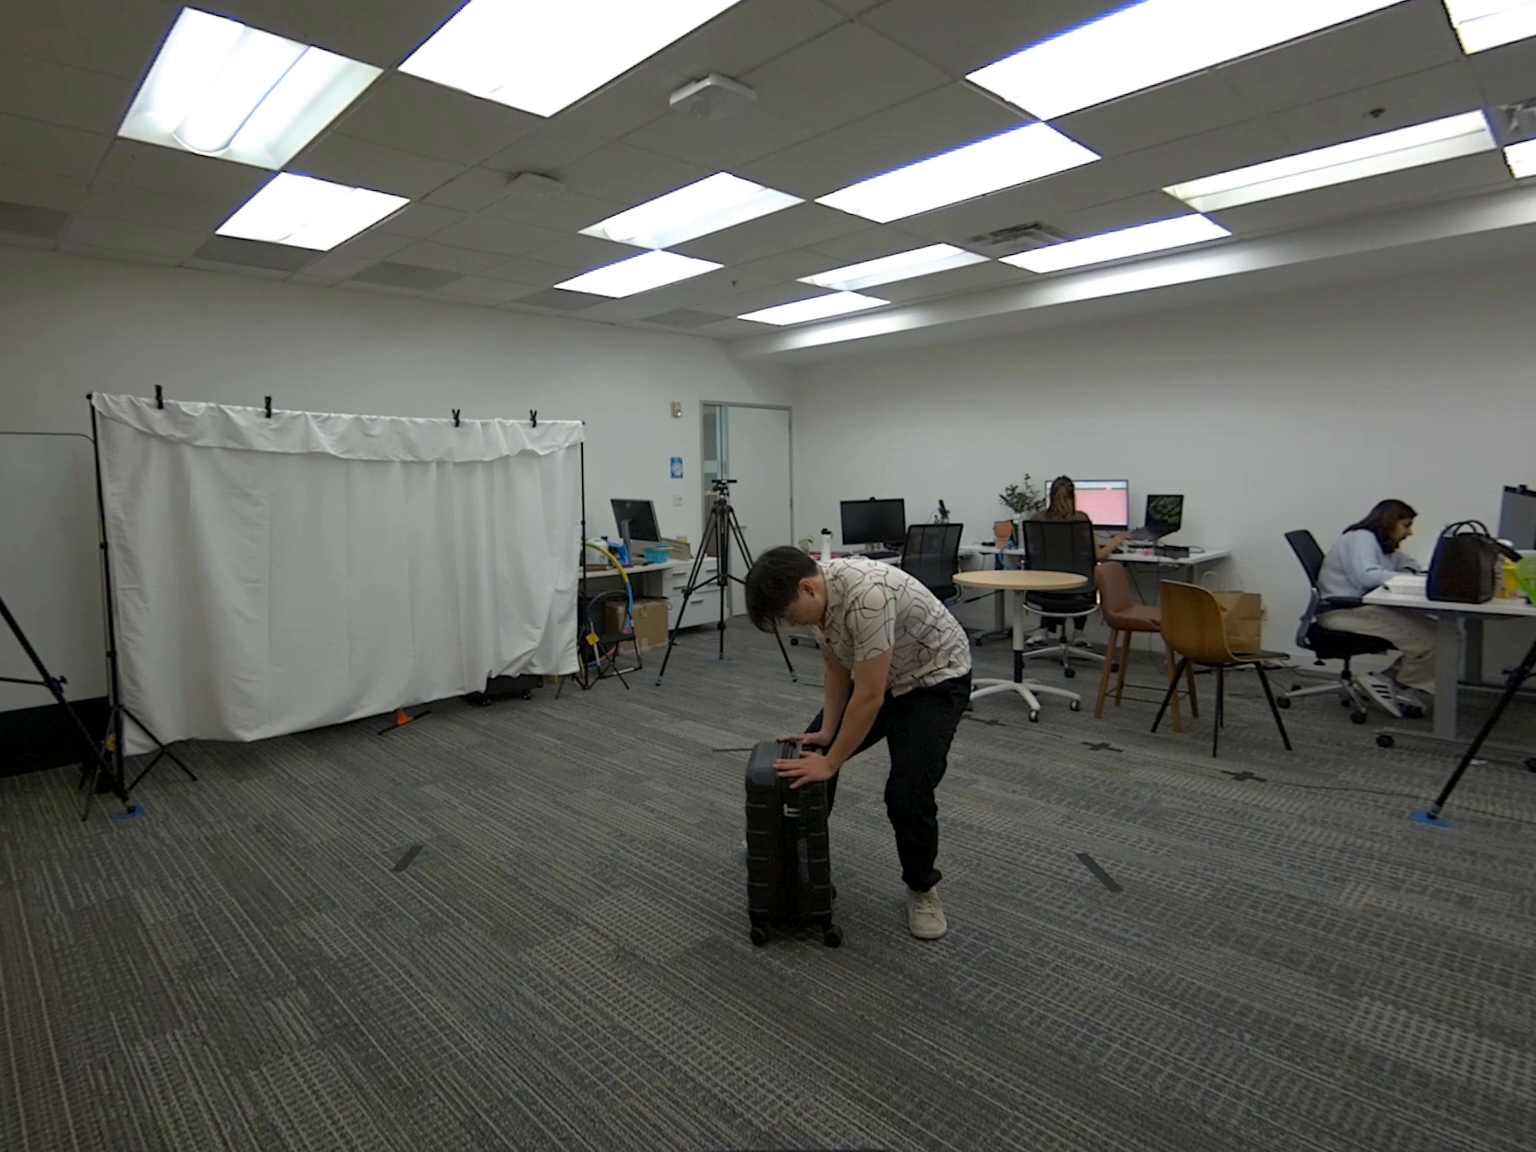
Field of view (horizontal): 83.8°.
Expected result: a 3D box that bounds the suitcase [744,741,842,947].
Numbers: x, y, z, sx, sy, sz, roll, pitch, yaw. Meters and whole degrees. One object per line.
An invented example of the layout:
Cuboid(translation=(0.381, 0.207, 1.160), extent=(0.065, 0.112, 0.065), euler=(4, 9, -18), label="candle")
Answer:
Cuboid(translation=(0.072, 0.818, 2.704), extent=(0.249, 0.548, 0.375), euler=(-3, 3, 4), label="suitcase")
